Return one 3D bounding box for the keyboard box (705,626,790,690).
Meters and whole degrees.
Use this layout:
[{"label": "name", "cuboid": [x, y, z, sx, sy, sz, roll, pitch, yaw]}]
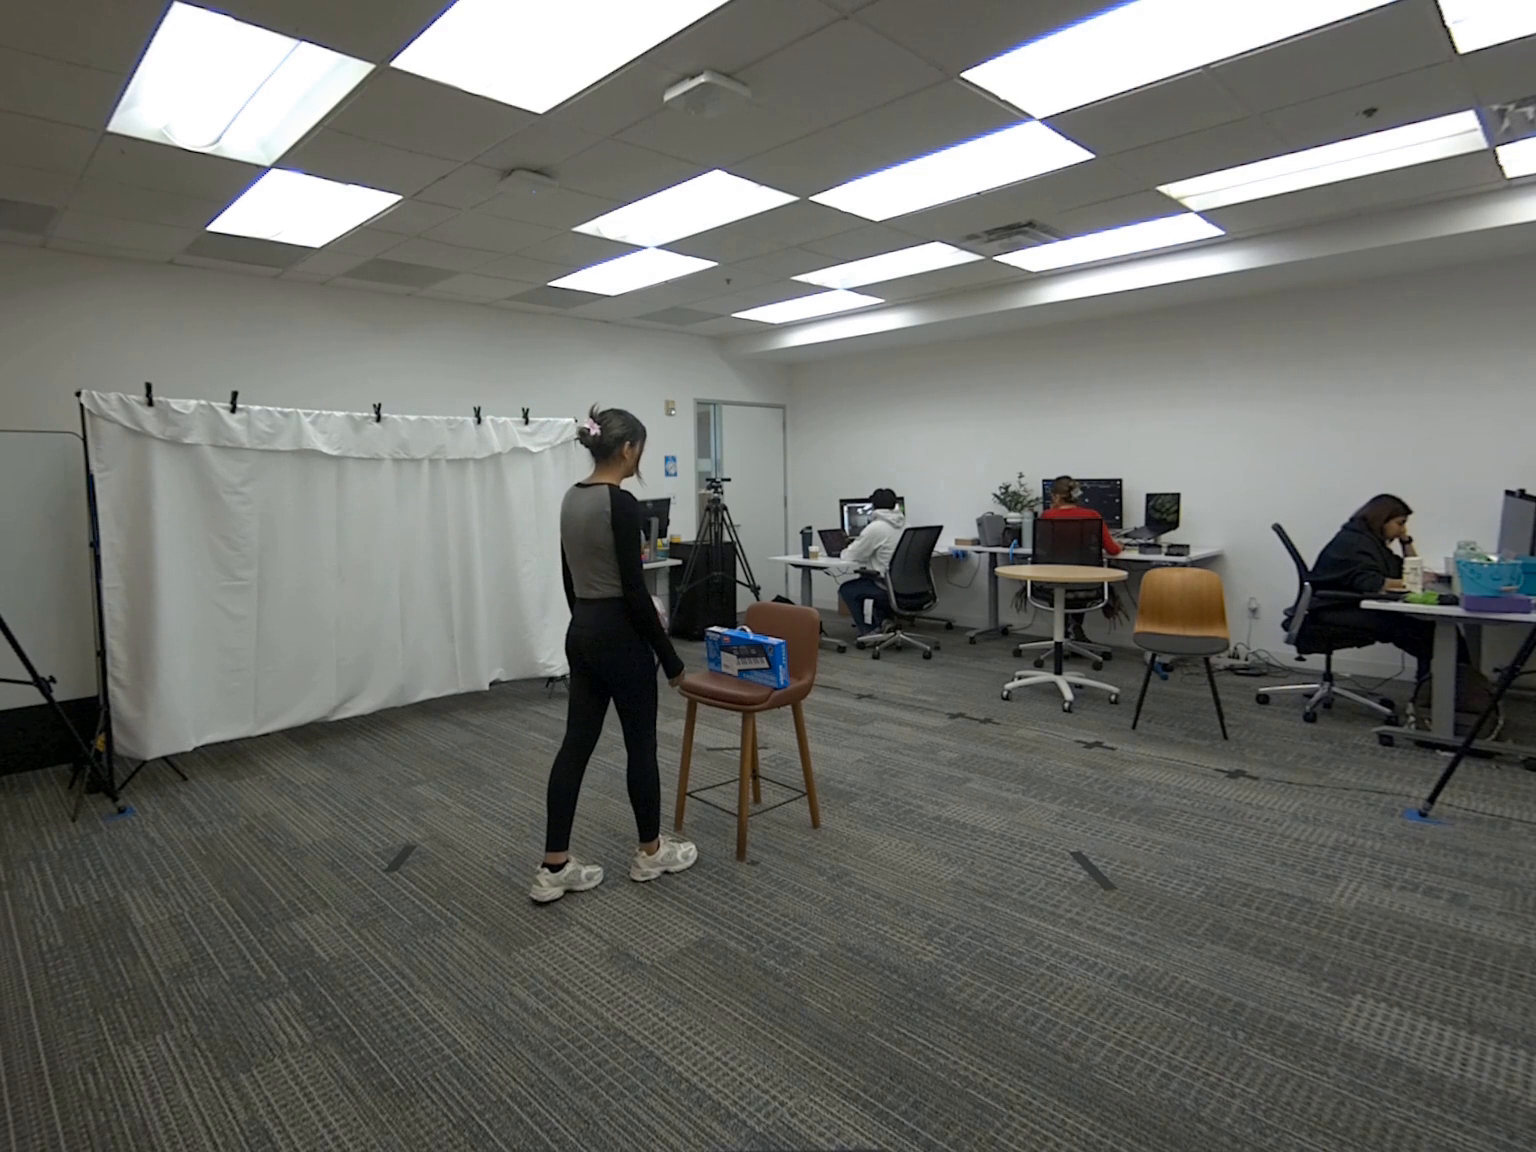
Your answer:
[{"label": "keyboard box", "cuboid": [-0.087, 0.314, 3.355, 0.058, 0.175, 0.450, -10, 10, -39]}]
